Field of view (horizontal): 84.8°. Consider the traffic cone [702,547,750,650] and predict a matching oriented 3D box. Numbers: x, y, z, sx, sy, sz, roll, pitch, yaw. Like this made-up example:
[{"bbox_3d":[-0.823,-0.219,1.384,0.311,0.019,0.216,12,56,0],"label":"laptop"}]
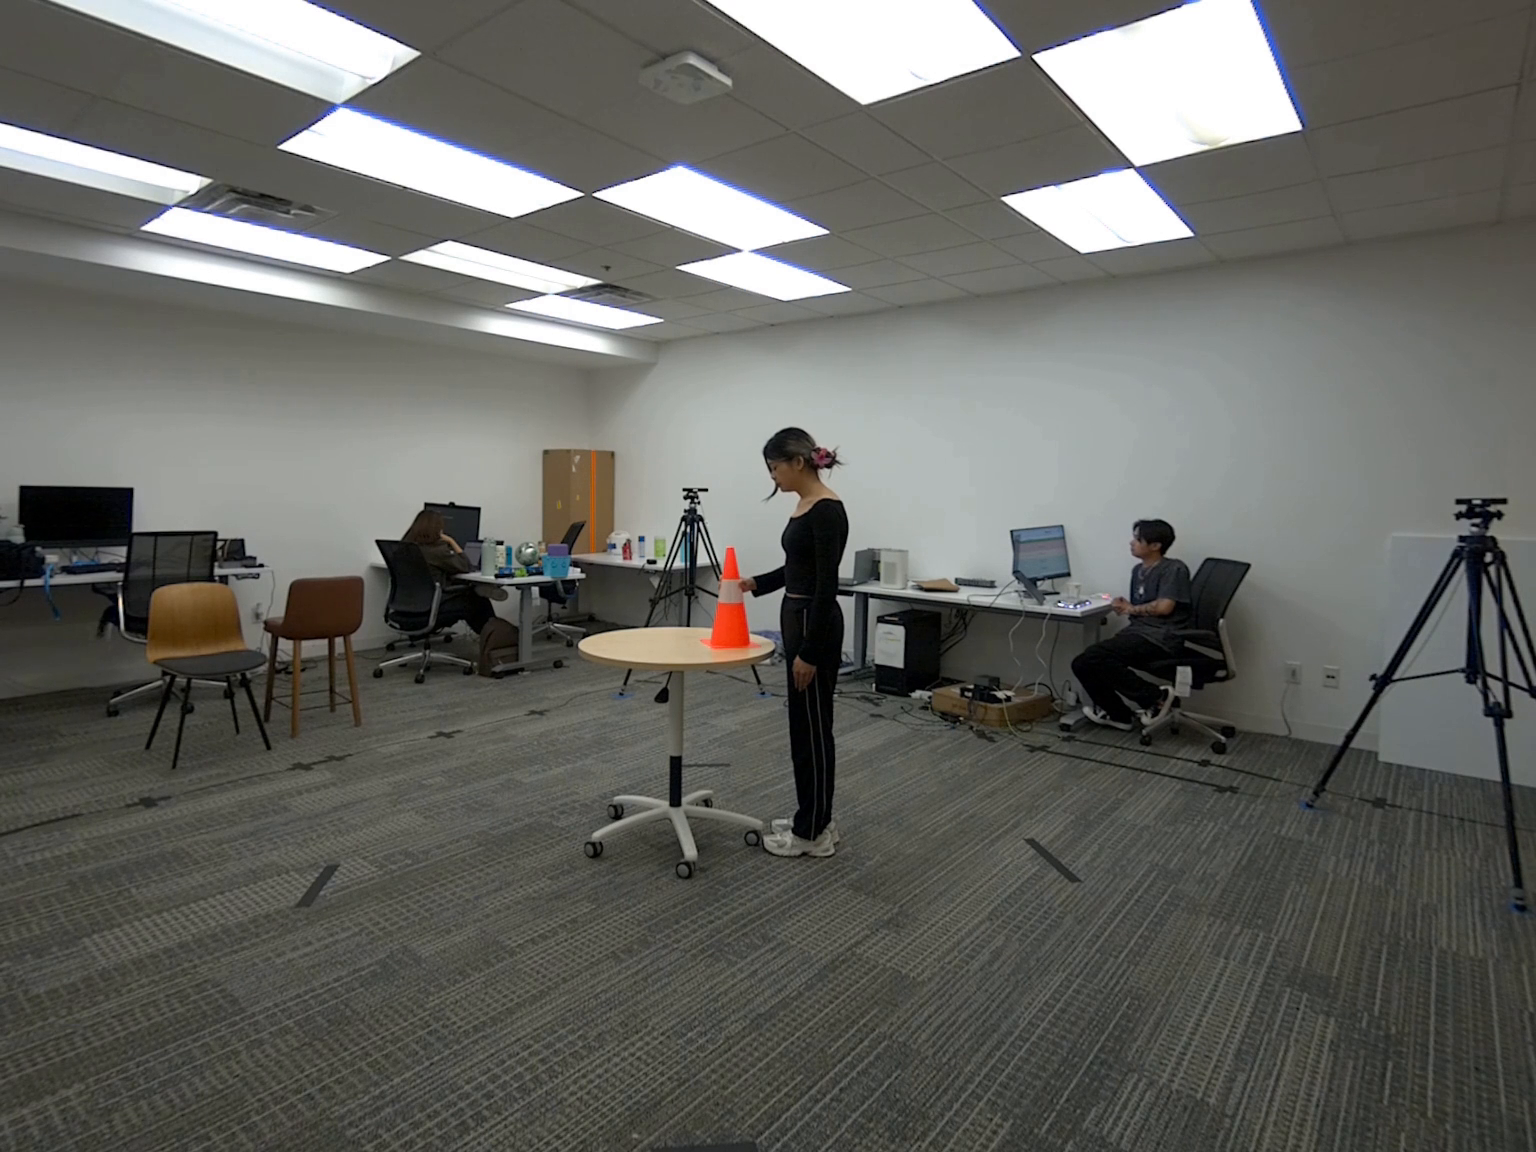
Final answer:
[{"bbox_3d":[-0.152,0.077,3.336,0.201,0.382,0.208,1,3,-10],"label":"traffic cone"}]
